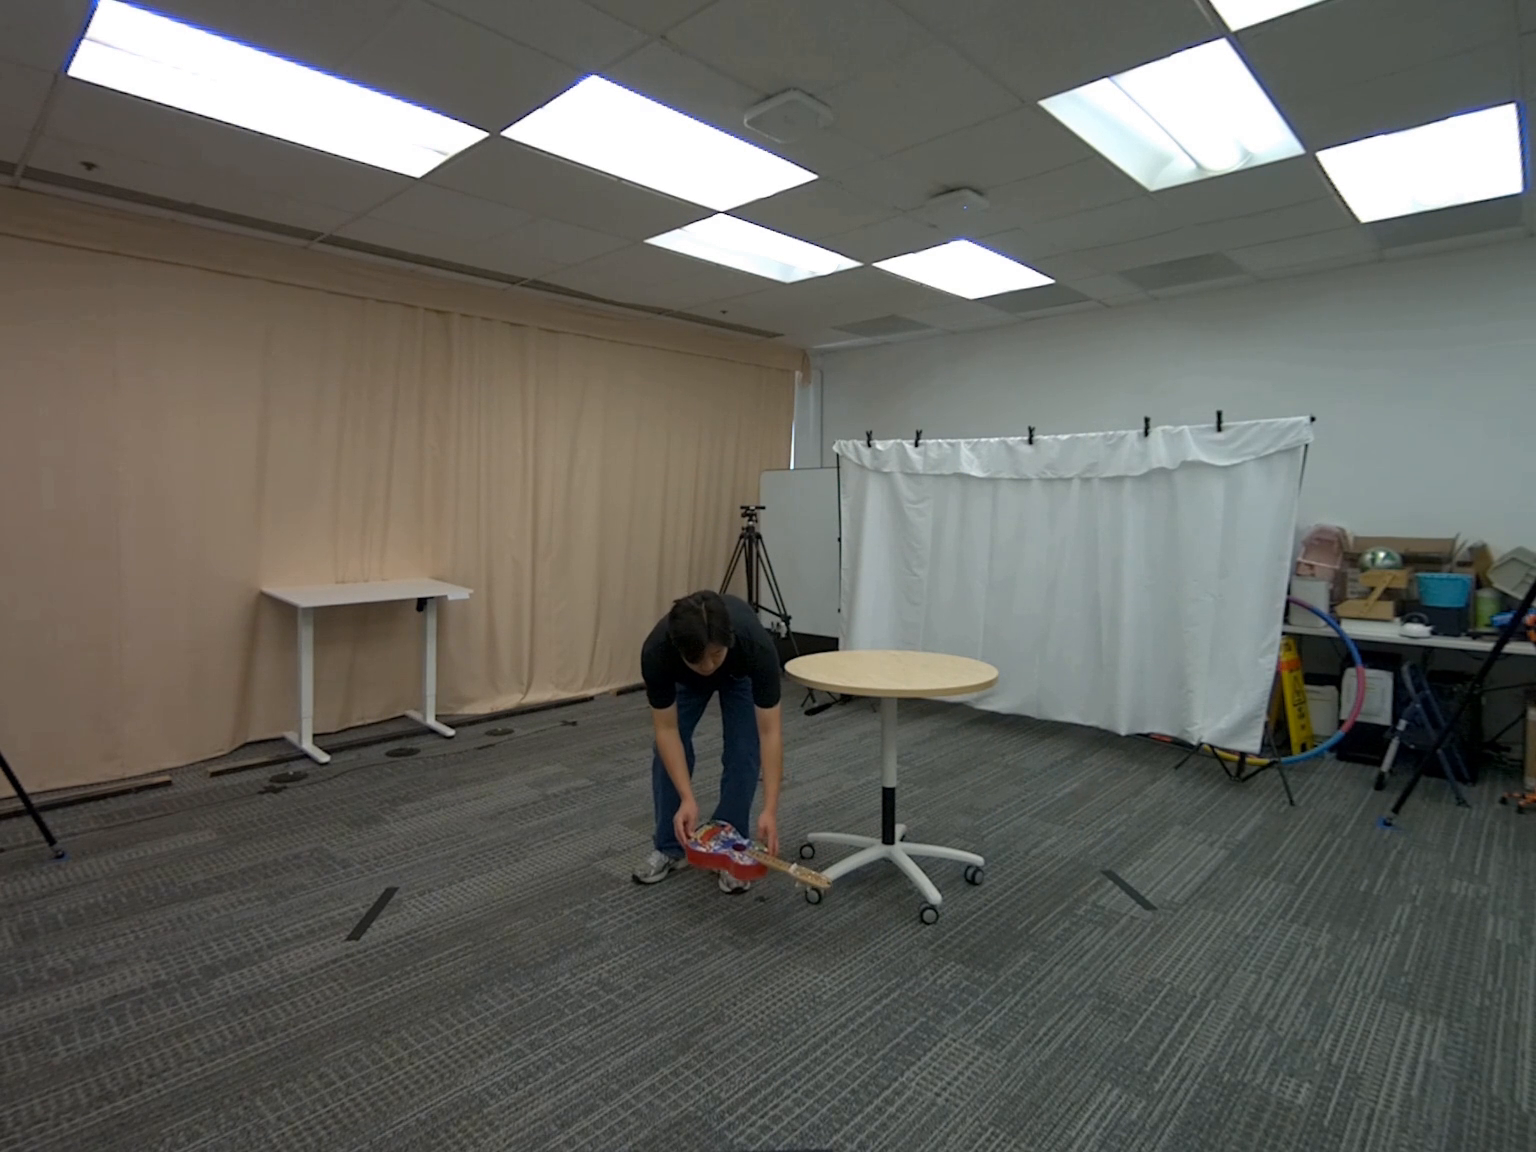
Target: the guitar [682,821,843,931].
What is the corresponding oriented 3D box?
[{"bbox_3d":[-0.033,0.925,2.670,0.515,0.070,0.188,14,19,38],"label":"guitar"}]
